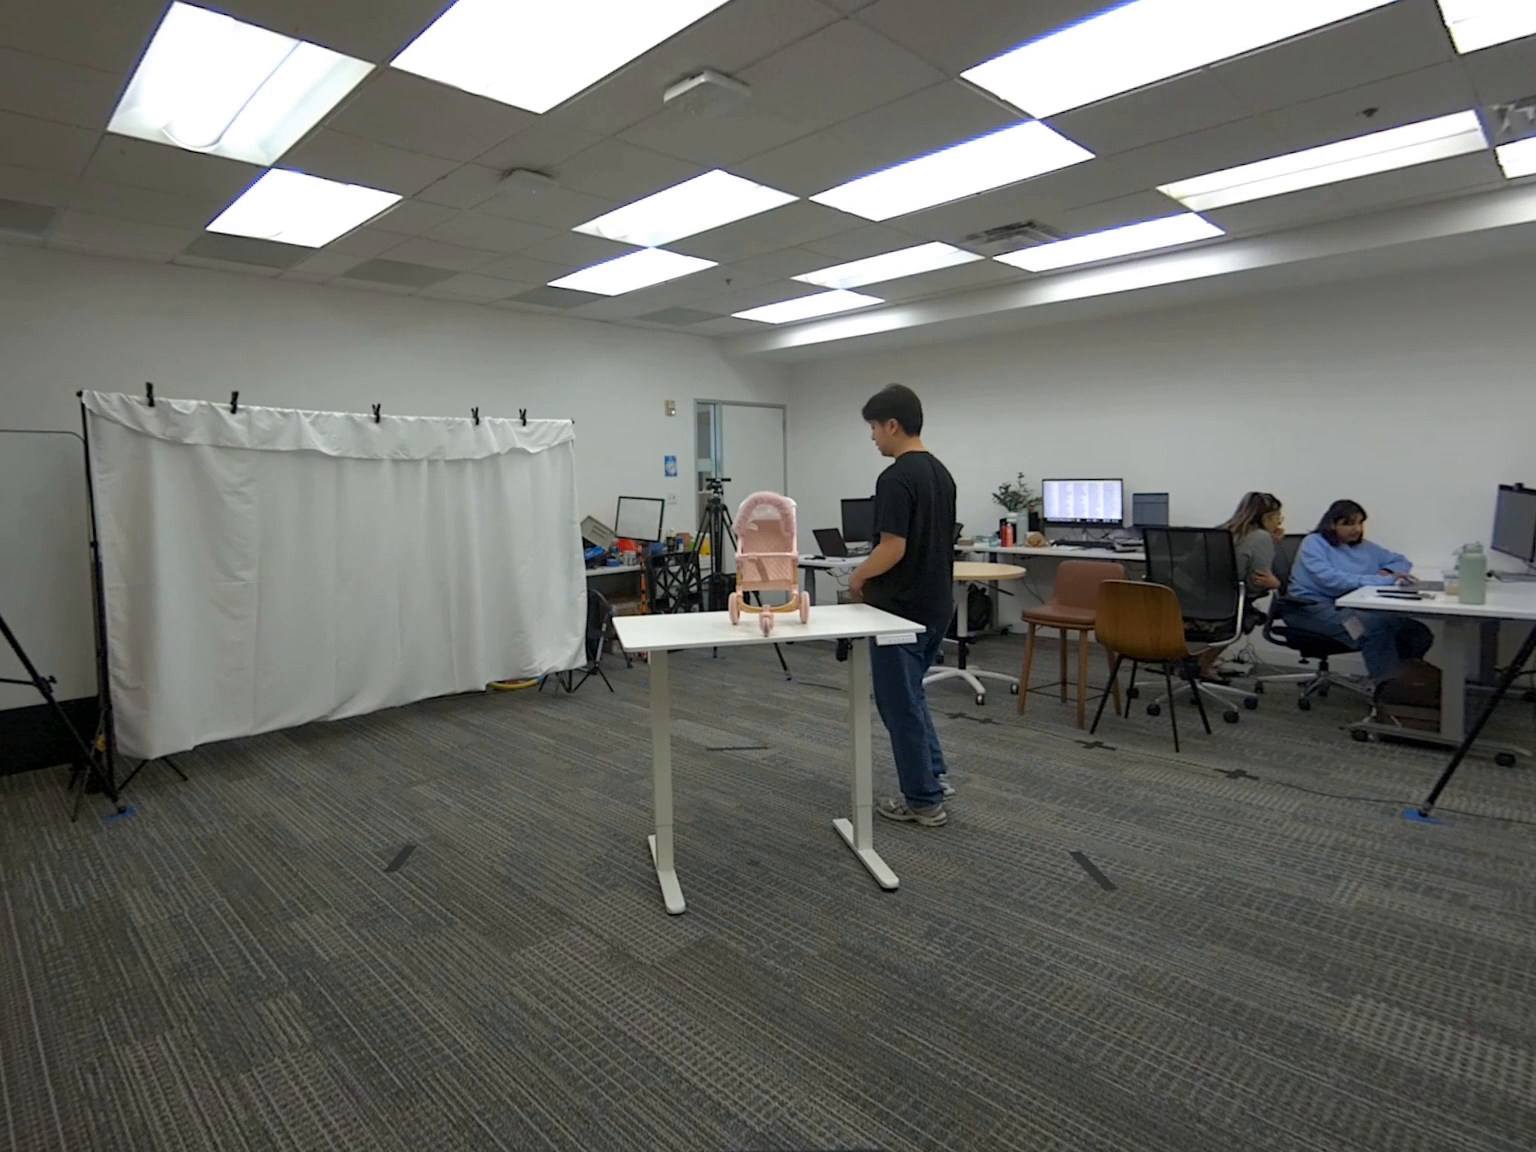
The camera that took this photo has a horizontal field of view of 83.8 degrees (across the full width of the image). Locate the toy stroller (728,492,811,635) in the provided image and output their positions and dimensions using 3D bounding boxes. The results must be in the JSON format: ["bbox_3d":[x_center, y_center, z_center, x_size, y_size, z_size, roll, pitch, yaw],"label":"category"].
[{"bbox_3d":[-0.006,-0.048,2.937,0.284,0.540,0.335,-1,-11,8],"label":"toy stroller"}]
